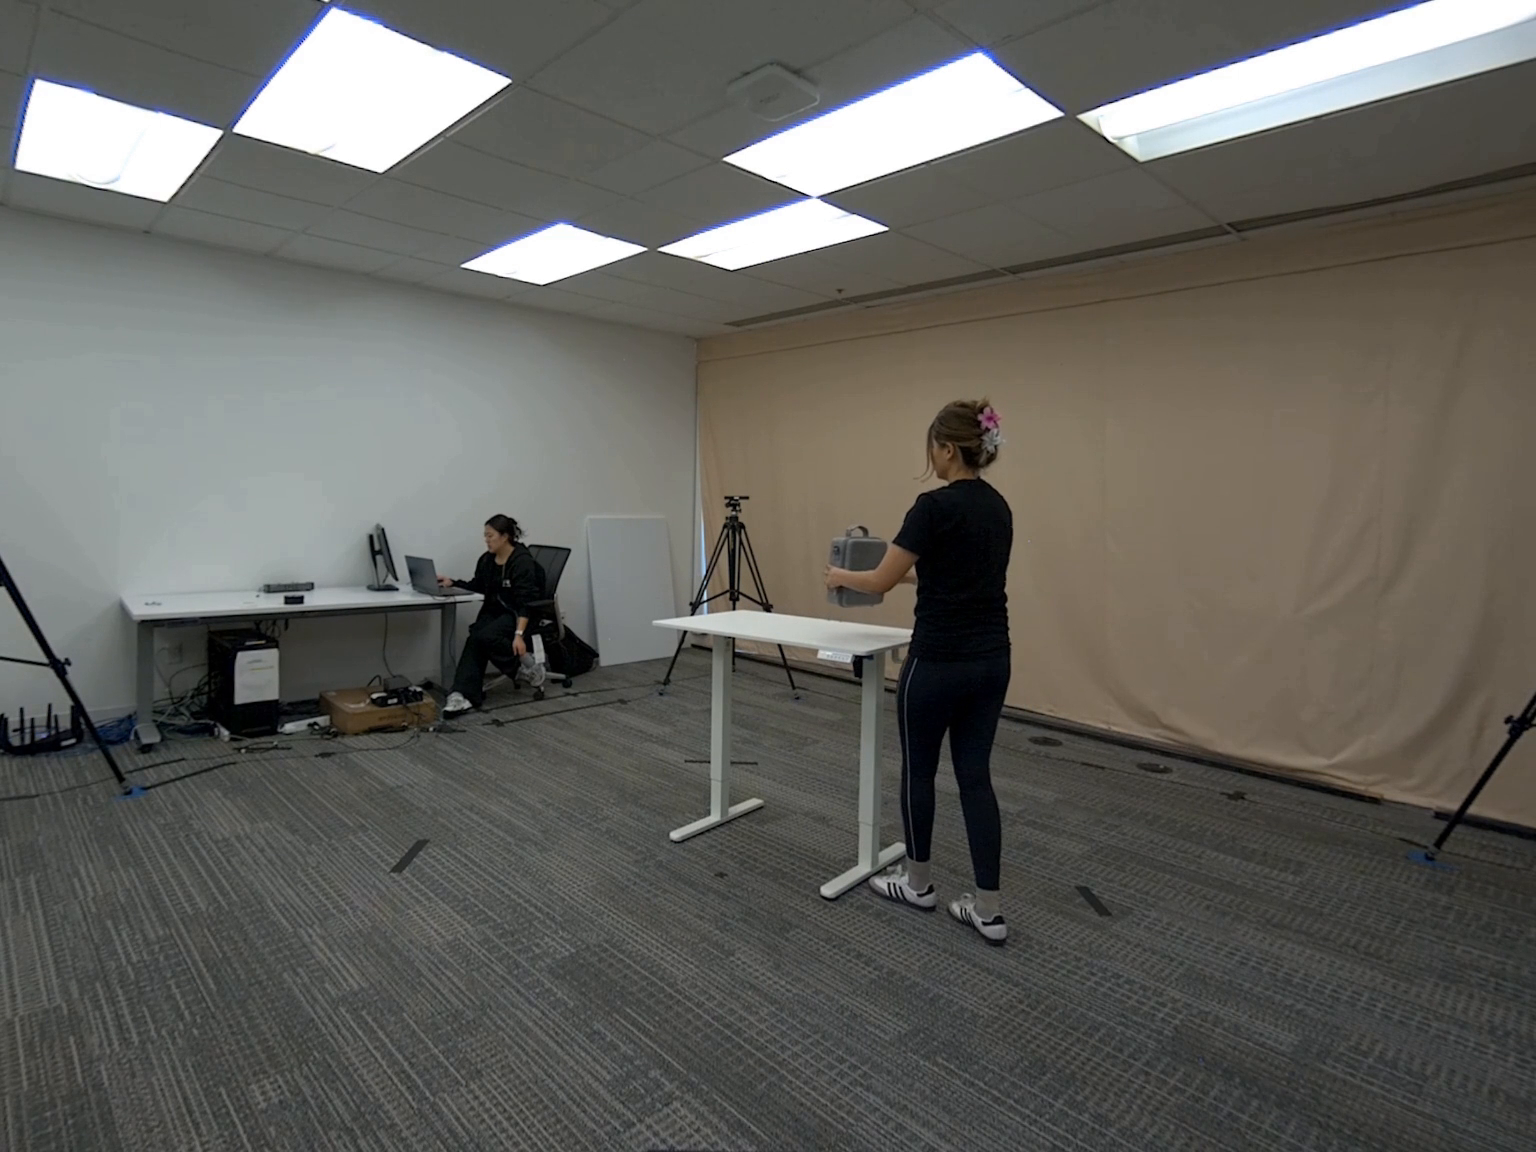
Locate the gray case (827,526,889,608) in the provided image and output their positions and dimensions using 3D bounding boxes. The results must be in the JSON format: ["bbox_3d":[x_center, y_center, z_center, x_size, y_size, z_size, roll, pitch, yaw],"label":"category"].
[{"bbox_3d":[0.333,-0.021,3.105,0.107,0.260,0.251,9,4,38],"label":"gray case"}]
